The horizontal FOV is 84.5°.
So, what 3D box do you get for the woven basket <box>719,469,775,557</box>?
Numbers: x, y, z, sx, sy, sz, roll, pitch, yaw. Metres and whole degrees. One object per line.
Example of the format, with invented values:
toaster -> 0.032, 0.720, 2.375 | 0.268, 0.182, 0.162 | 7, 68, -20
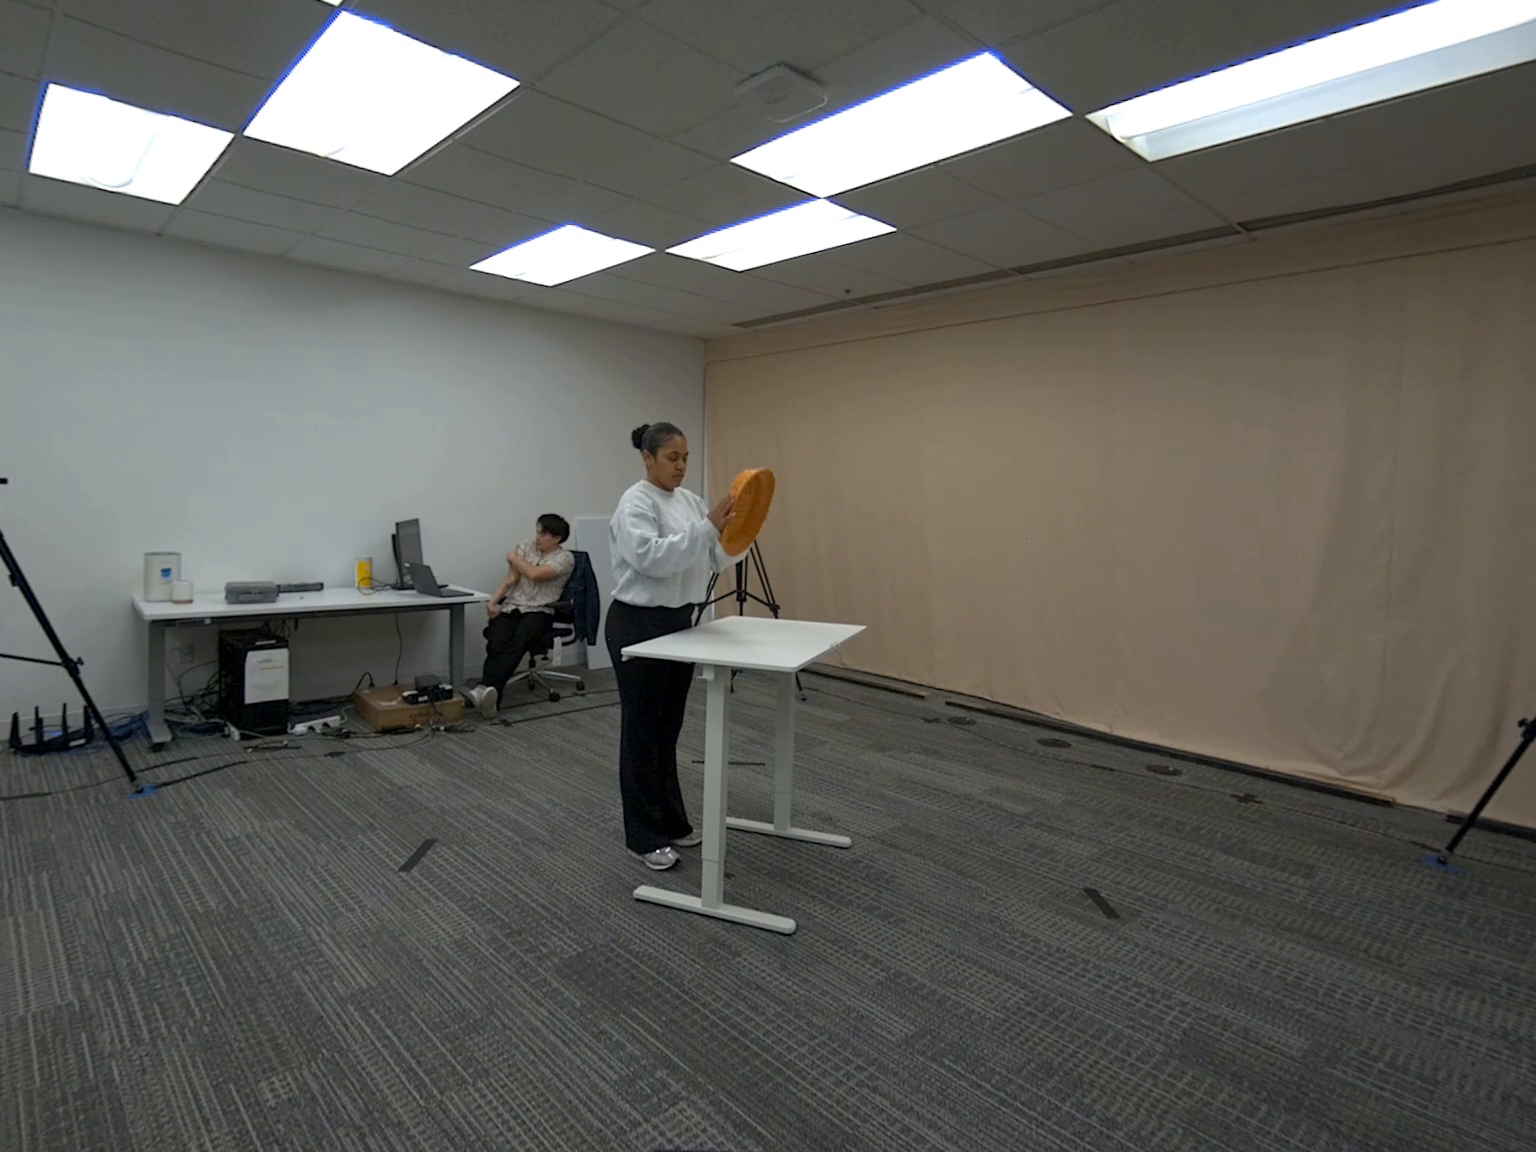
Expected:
woven basket -> -0.113, -0.224, 3.045 | 0.075, 0.349, 0.247 | 27, 10, 25
